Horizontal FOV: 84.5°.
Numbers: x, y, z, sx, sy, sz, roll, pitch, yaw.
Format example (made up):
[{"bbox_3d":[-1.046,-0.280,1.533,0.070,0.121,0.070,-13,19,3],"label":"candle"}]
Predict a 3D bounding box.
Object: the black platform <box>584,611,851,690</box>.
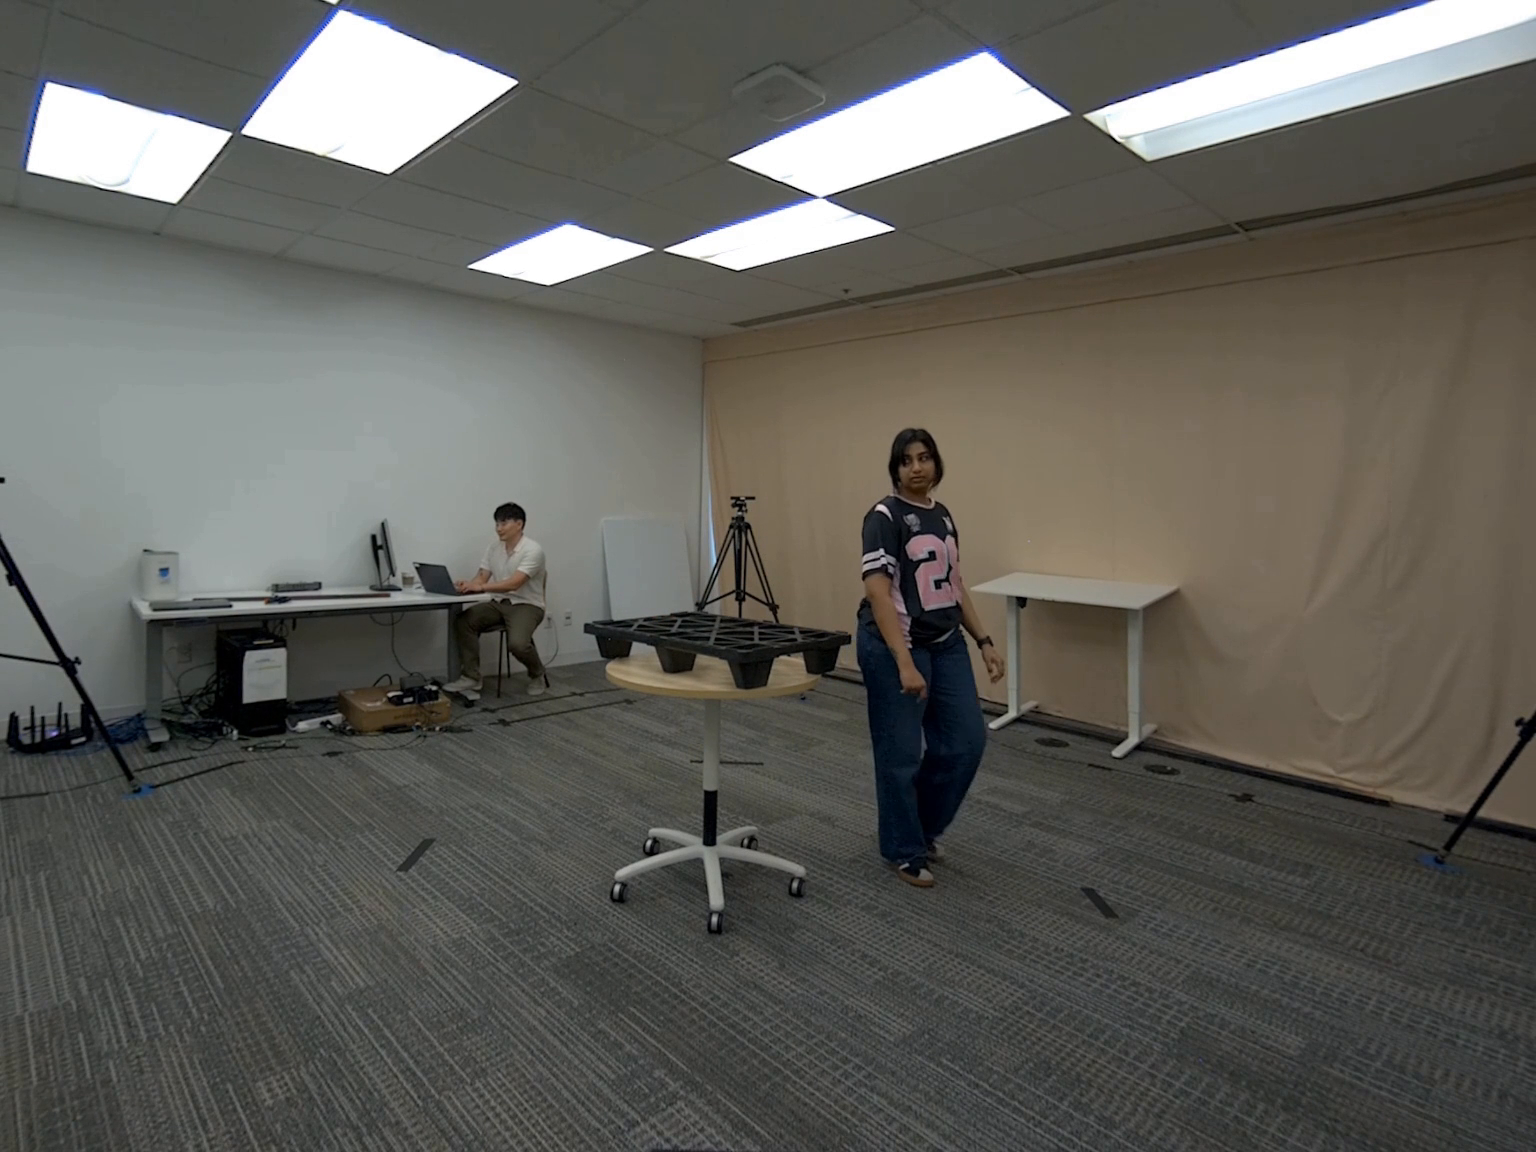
[{"bbox_3d":[-0.199,0.257,3.062,0.826,0.143,0.591,7,7,42],"label":"black platform"}]
